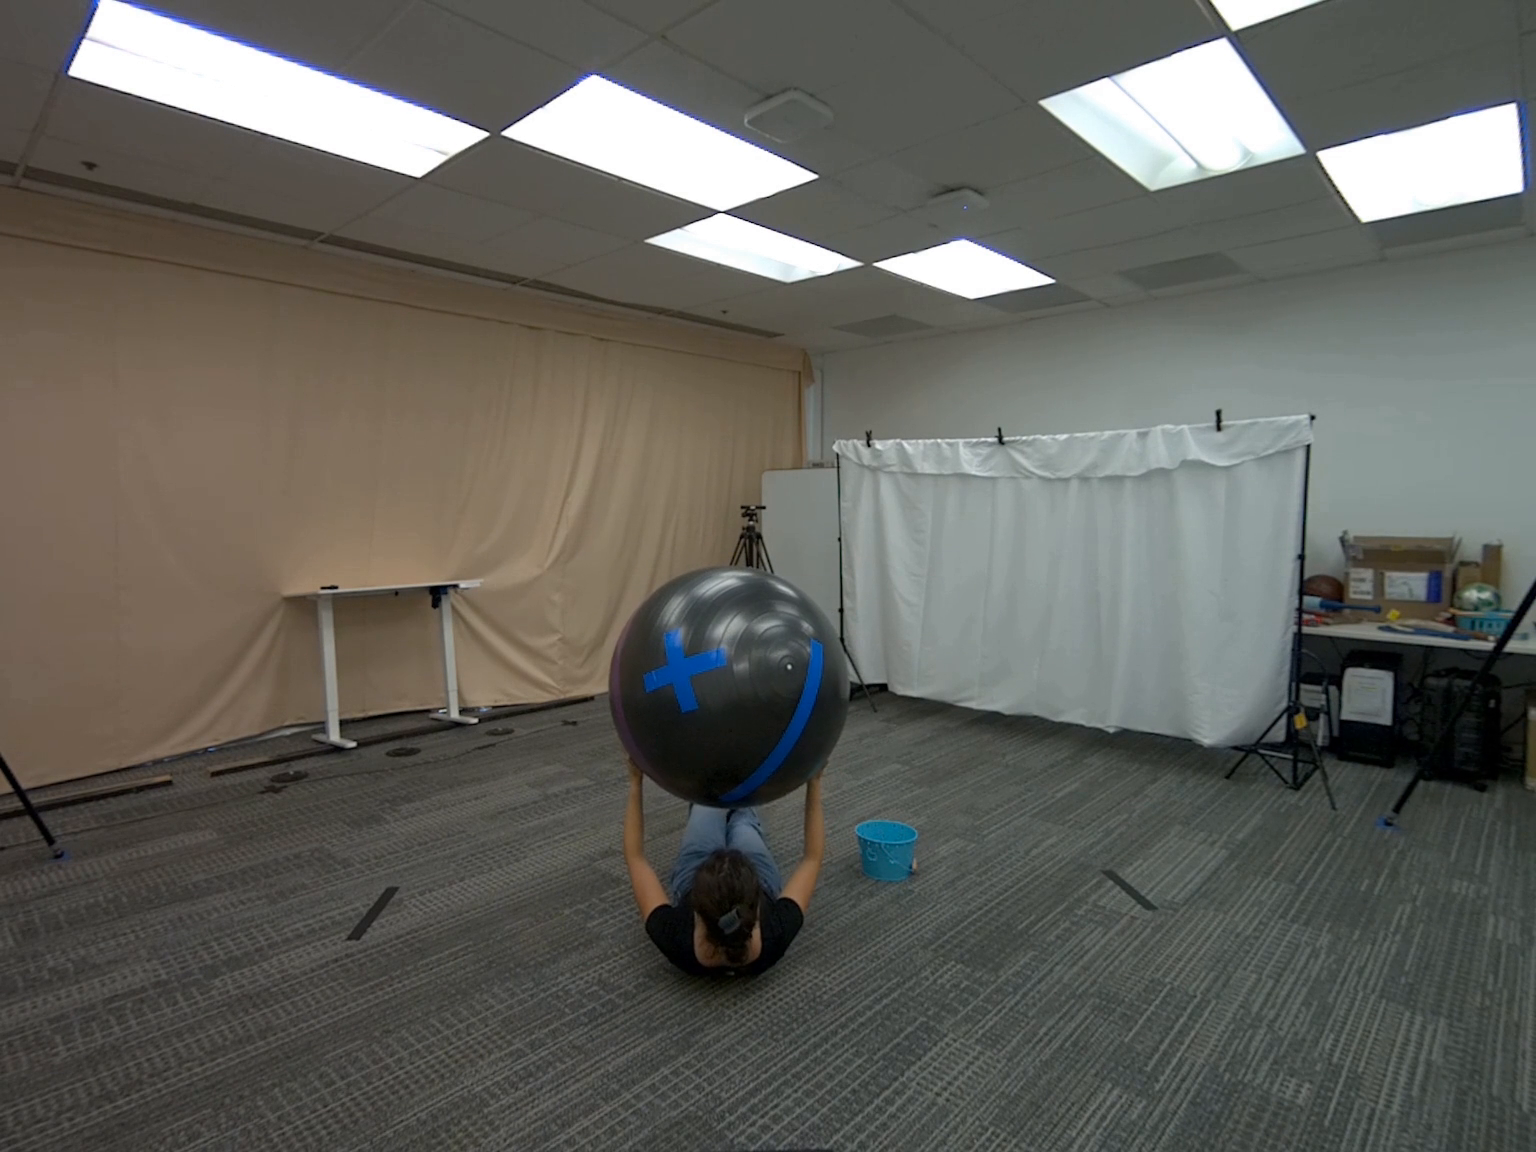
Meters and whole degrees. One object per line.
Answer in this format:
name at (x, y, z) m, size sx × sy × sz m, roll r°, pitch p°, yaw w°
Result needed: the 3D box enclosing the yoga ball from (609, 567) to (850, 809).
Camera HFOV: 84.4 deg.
yoga ball at (-0.121, 0.349, 2.674) m, size 0.757 × 0.756 × 0.760 m, roll 0°, pitch 4°, yaw -2°
